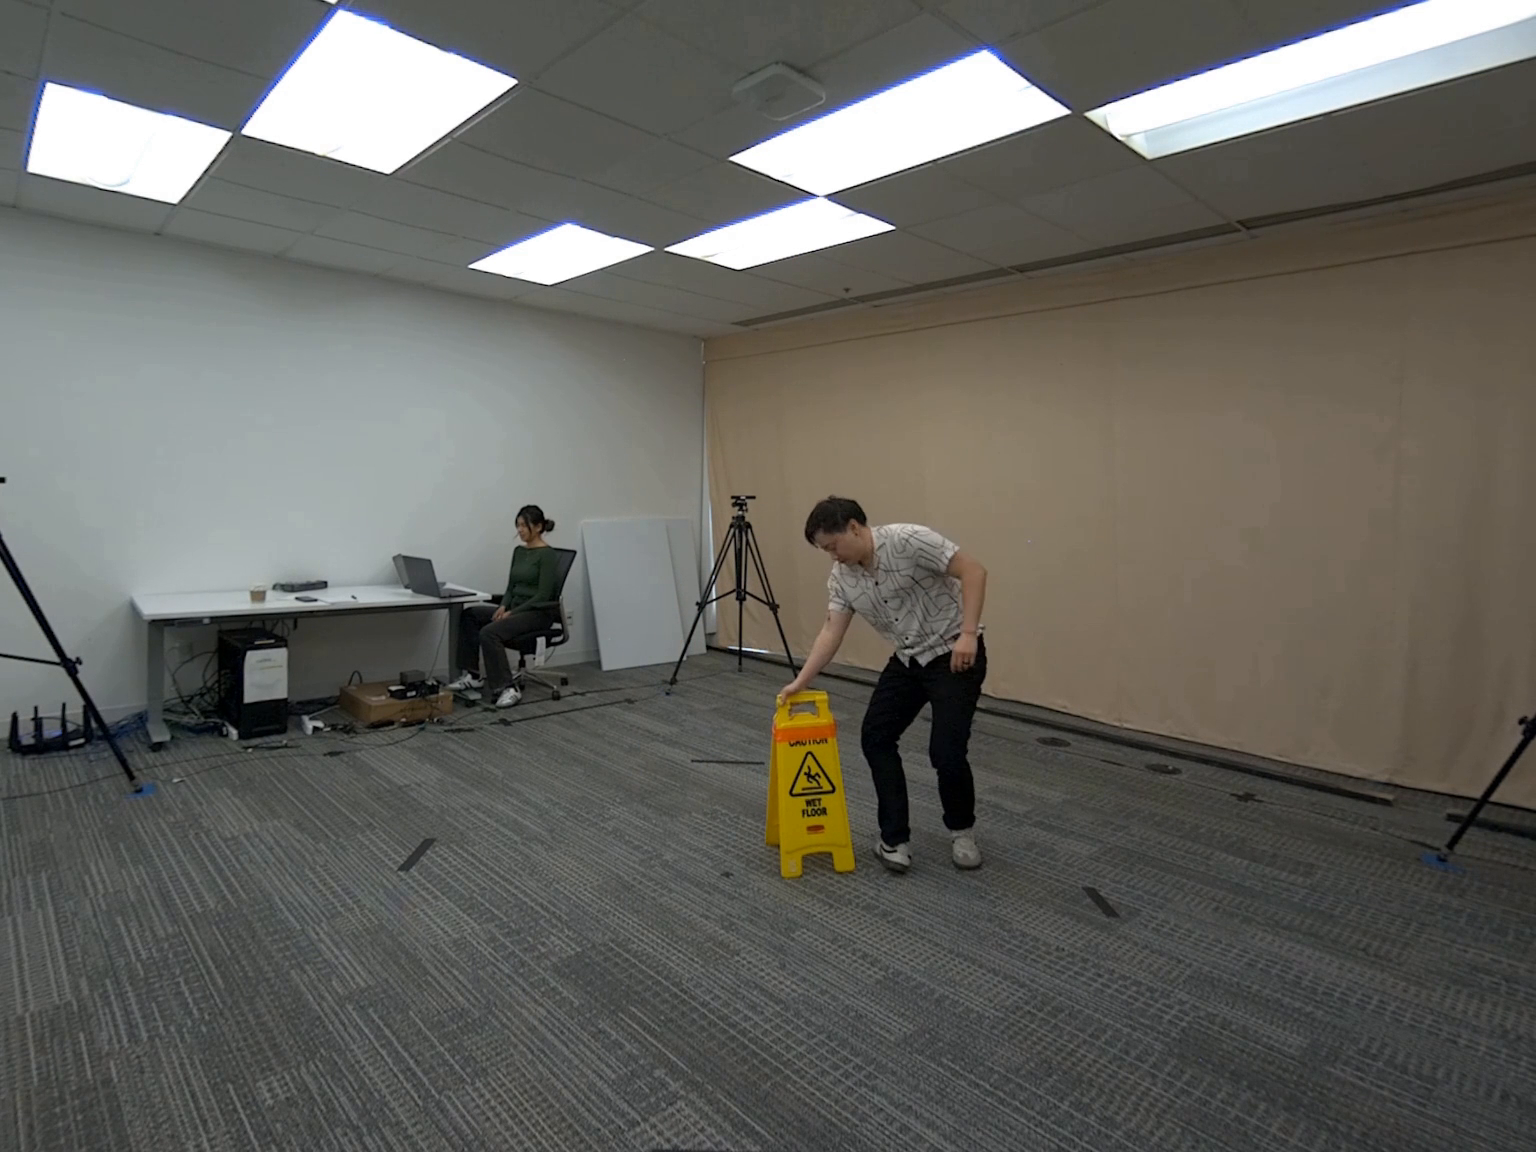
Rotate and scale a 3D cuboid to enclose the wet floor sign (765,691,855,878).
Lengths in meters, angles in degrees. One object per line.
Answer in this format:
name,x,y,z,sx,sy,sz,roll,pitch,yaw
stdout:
wet floor sign,0.135,0.764,3.240,0.280,0.644,0.293,-2,3,-11
